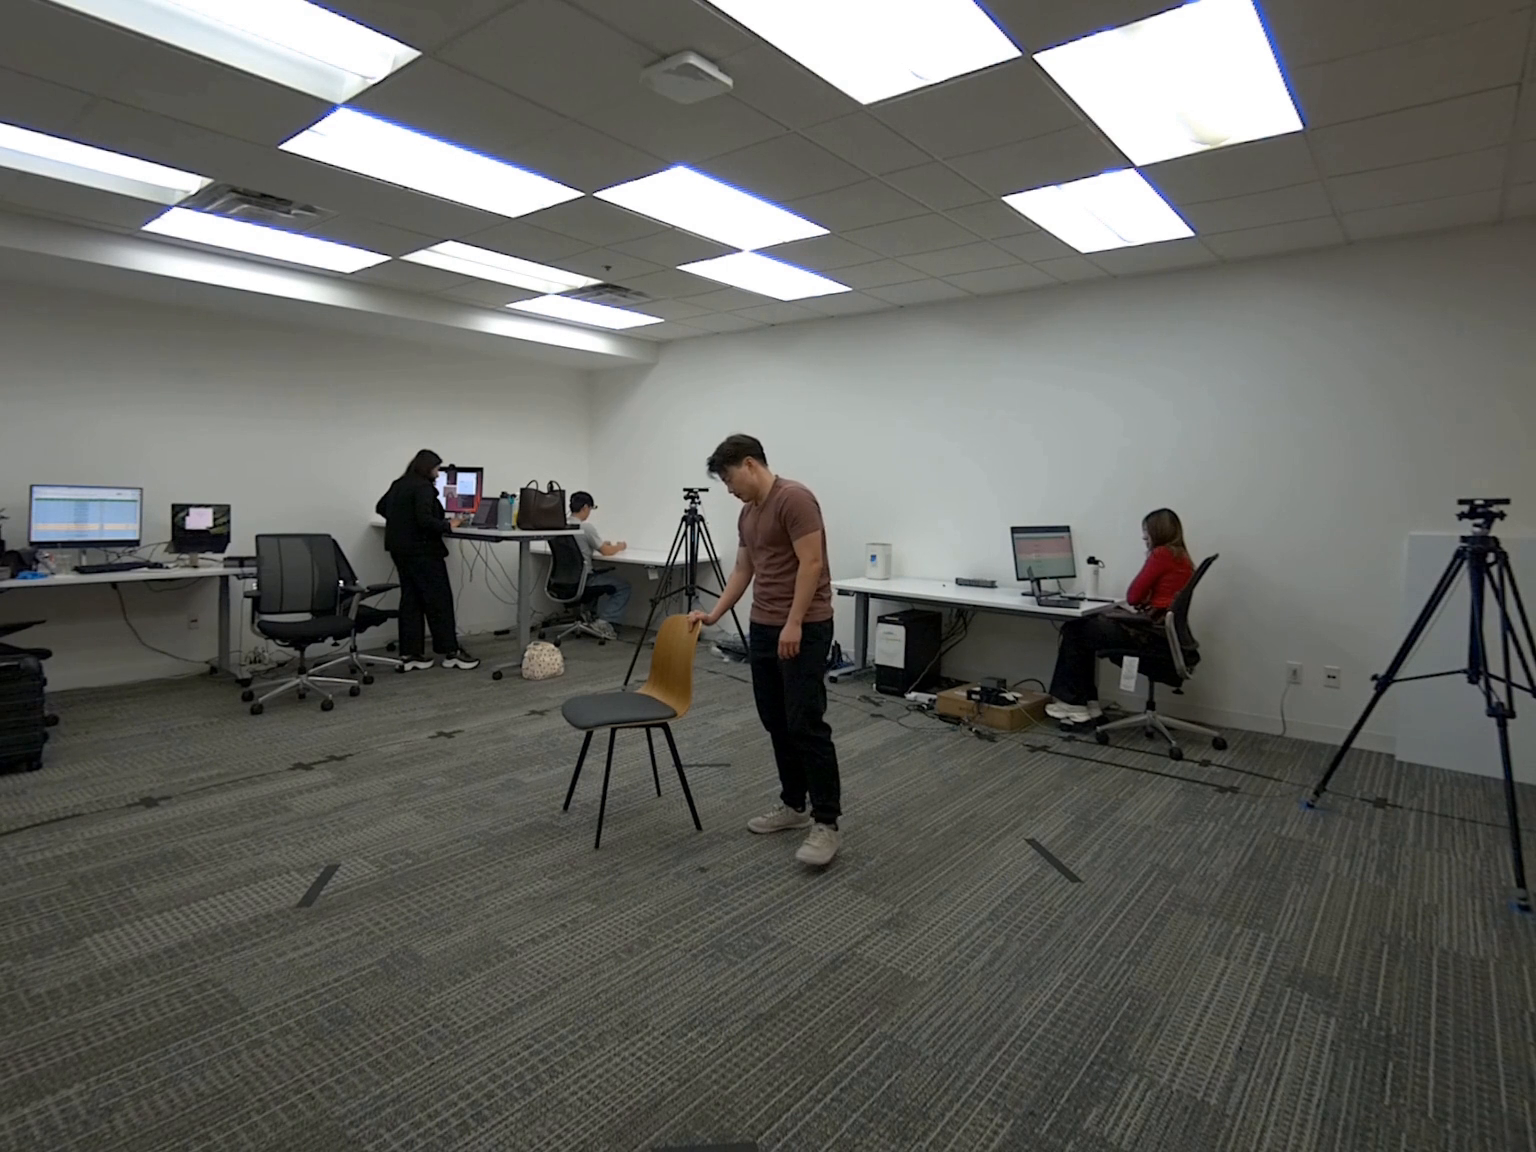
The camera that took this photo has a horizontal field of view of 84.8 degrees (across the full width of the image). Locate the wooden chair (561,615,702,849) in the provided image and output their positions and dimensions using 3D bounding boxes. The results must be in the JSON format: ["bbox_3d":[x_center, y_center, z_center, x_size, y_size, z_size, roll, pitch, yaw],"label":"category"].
[{"bbox_3d":[-0.589,0.596,3.536,0.509,0.876,0.492,4,2,-29],"label":"wooden chair"}]
